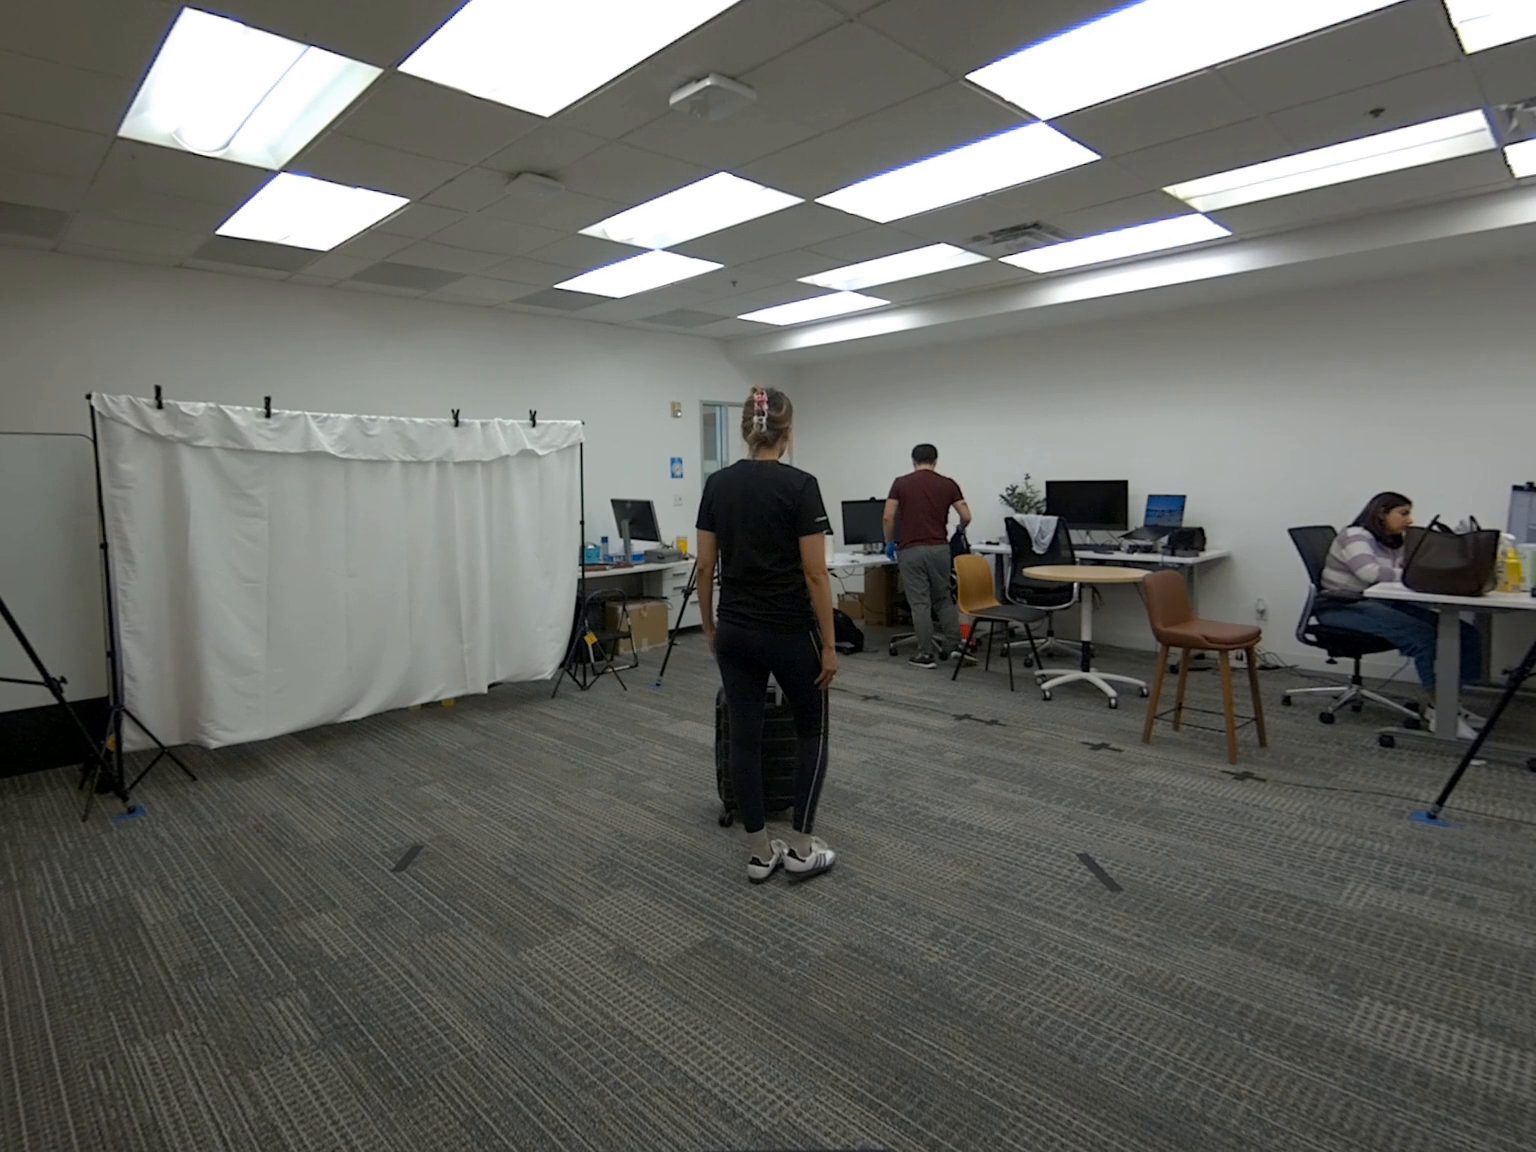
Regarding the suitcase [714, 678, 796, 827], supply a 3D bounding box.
[{"bbox_3d":[-0.037,0.521,3.569,0.382,0.979,0.258,-1,0,-5],"label":"suitcase"}]
